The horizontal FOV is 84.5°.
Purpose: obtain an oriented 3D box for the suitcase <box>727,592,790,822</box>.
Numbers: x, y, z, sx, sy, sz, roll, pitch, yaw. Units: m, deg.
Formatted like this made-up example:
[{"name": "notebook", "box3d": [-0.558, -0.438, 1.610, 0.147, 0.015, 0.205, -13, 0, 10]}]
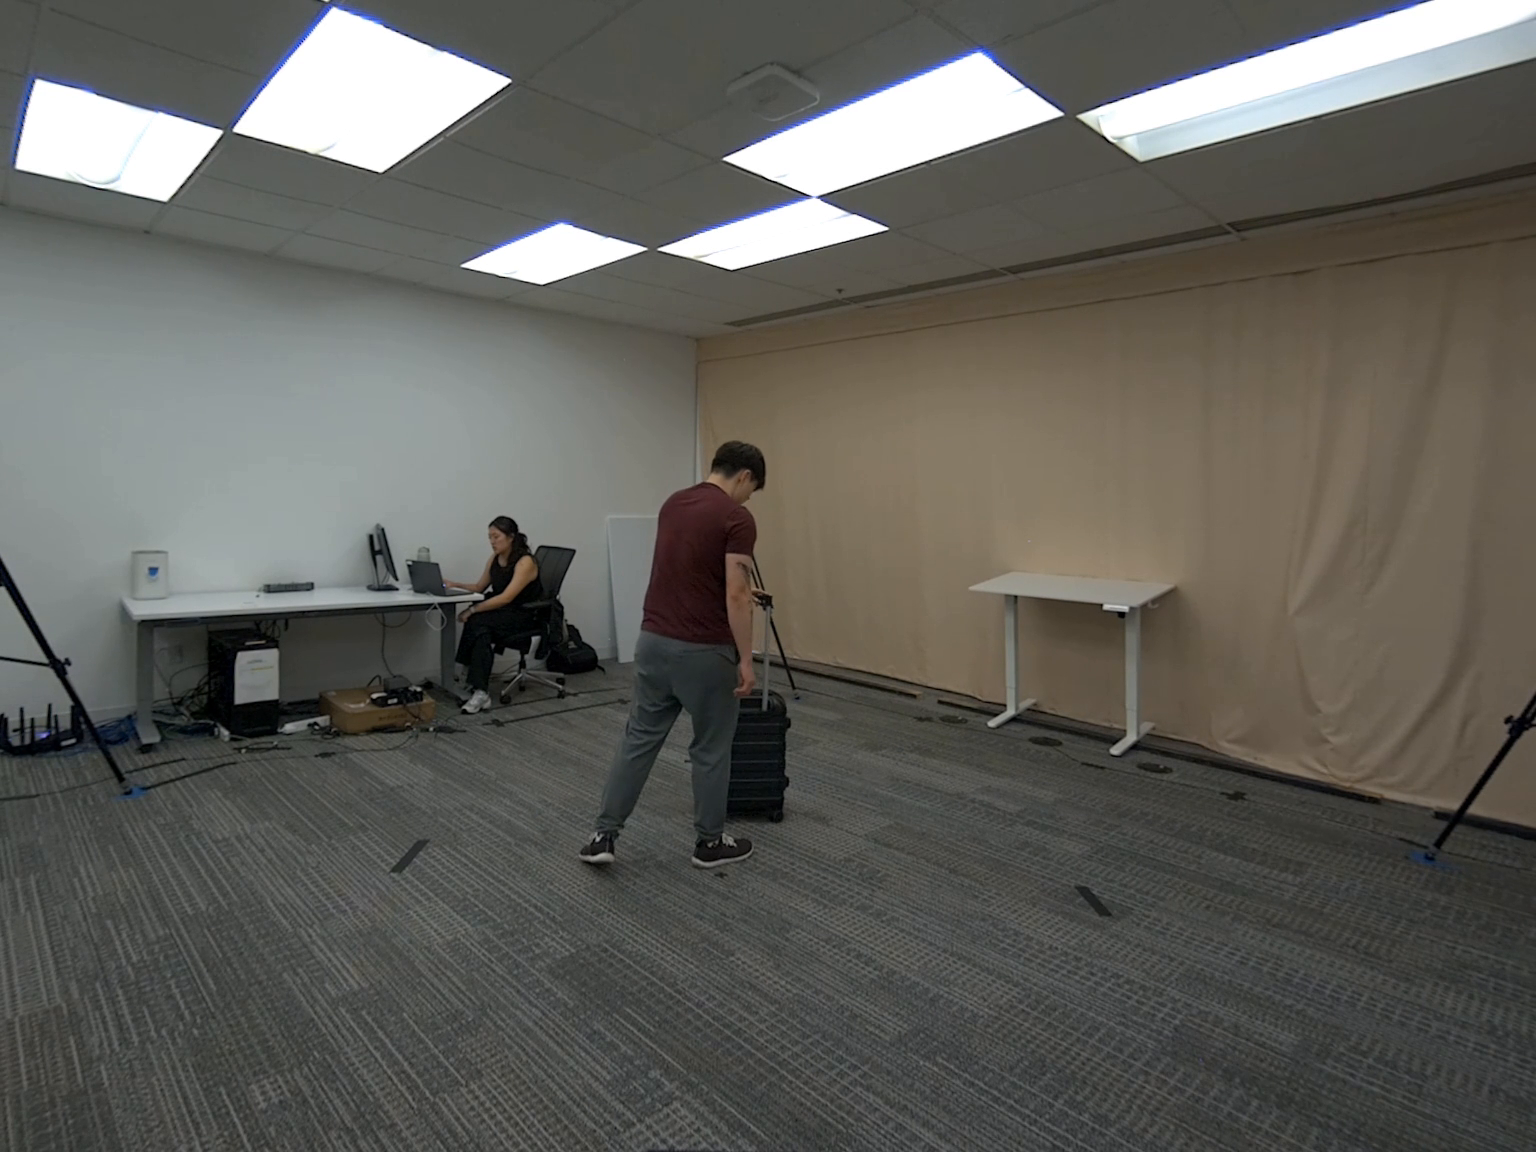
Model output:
[{"name": "suitcase", "box3d": [-0.107, 0.580, 3.728, 0.382, 0.979, 0.258, 2, -1, -6]}]
